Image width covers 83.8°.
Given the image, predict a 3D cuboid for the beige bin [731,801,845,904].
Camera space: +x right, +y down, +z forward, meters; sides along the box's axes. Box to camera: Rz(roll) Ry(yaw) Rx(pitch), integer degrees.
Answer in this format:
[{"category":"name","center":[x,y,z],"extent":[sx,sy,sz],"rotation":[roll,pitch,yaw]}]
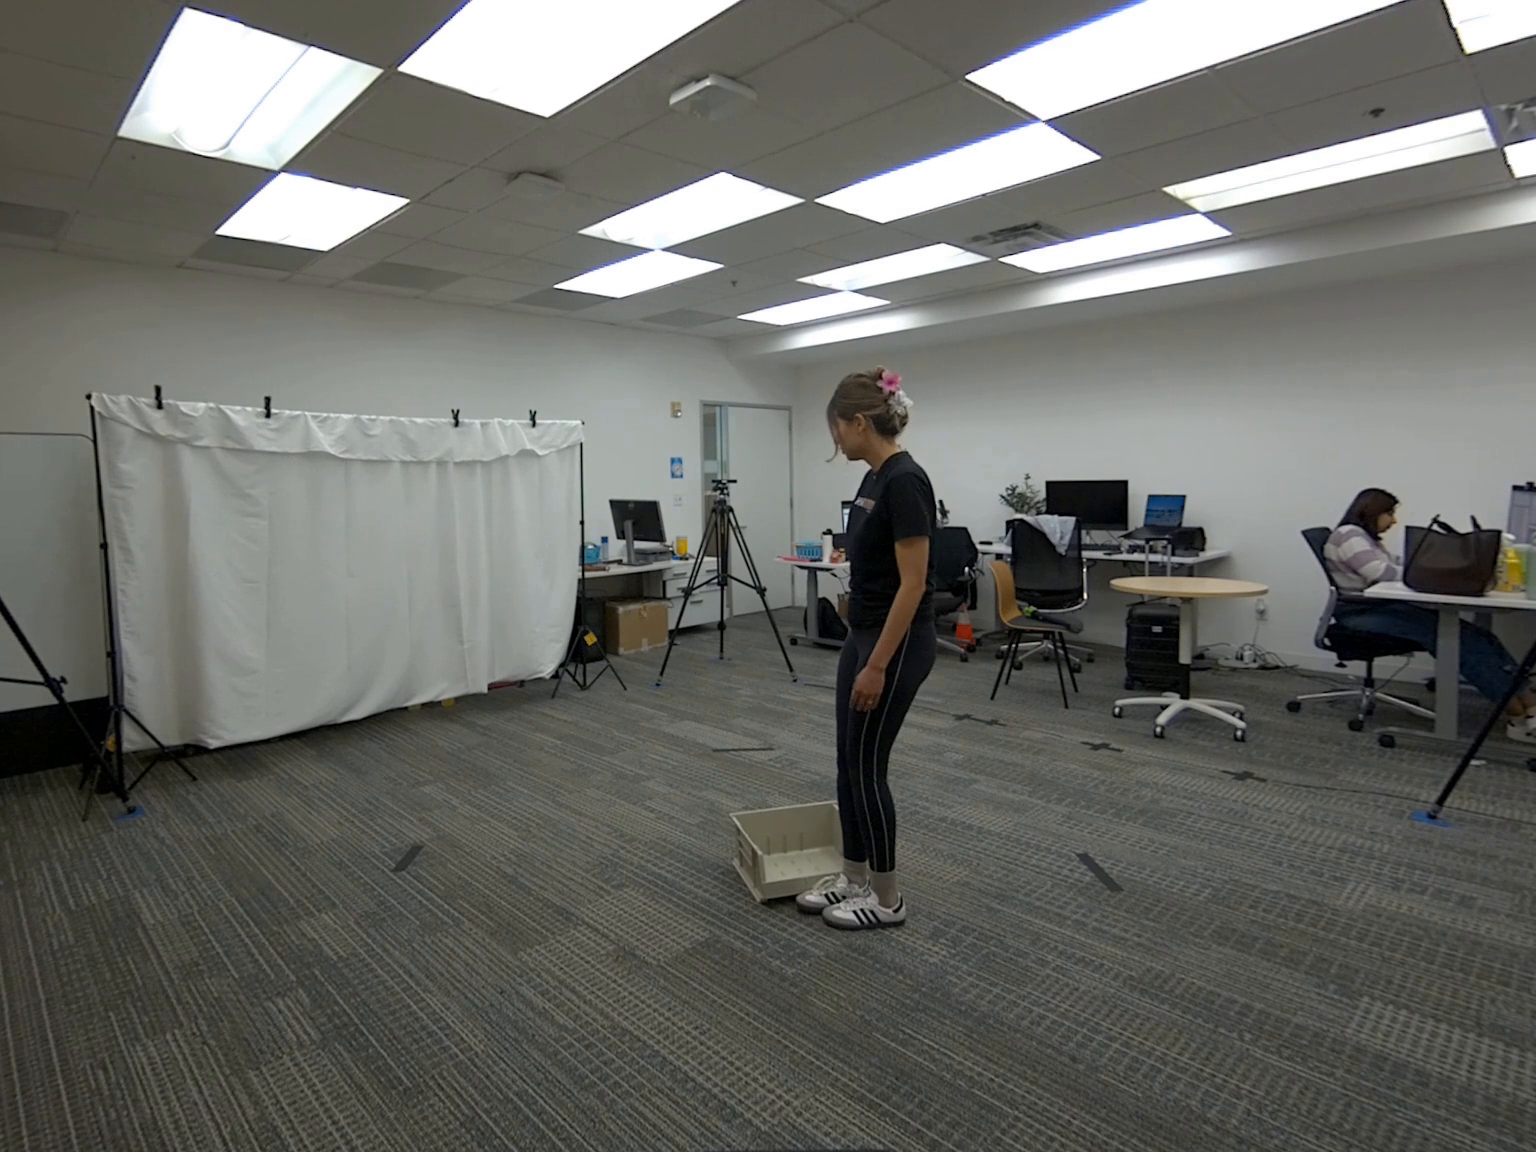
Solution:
[{"category":"beige bin","center":[0.123,0.965,3.000],"extent":[0.416,0.188,0.384],"rotation":[-3,4,-17]}]
